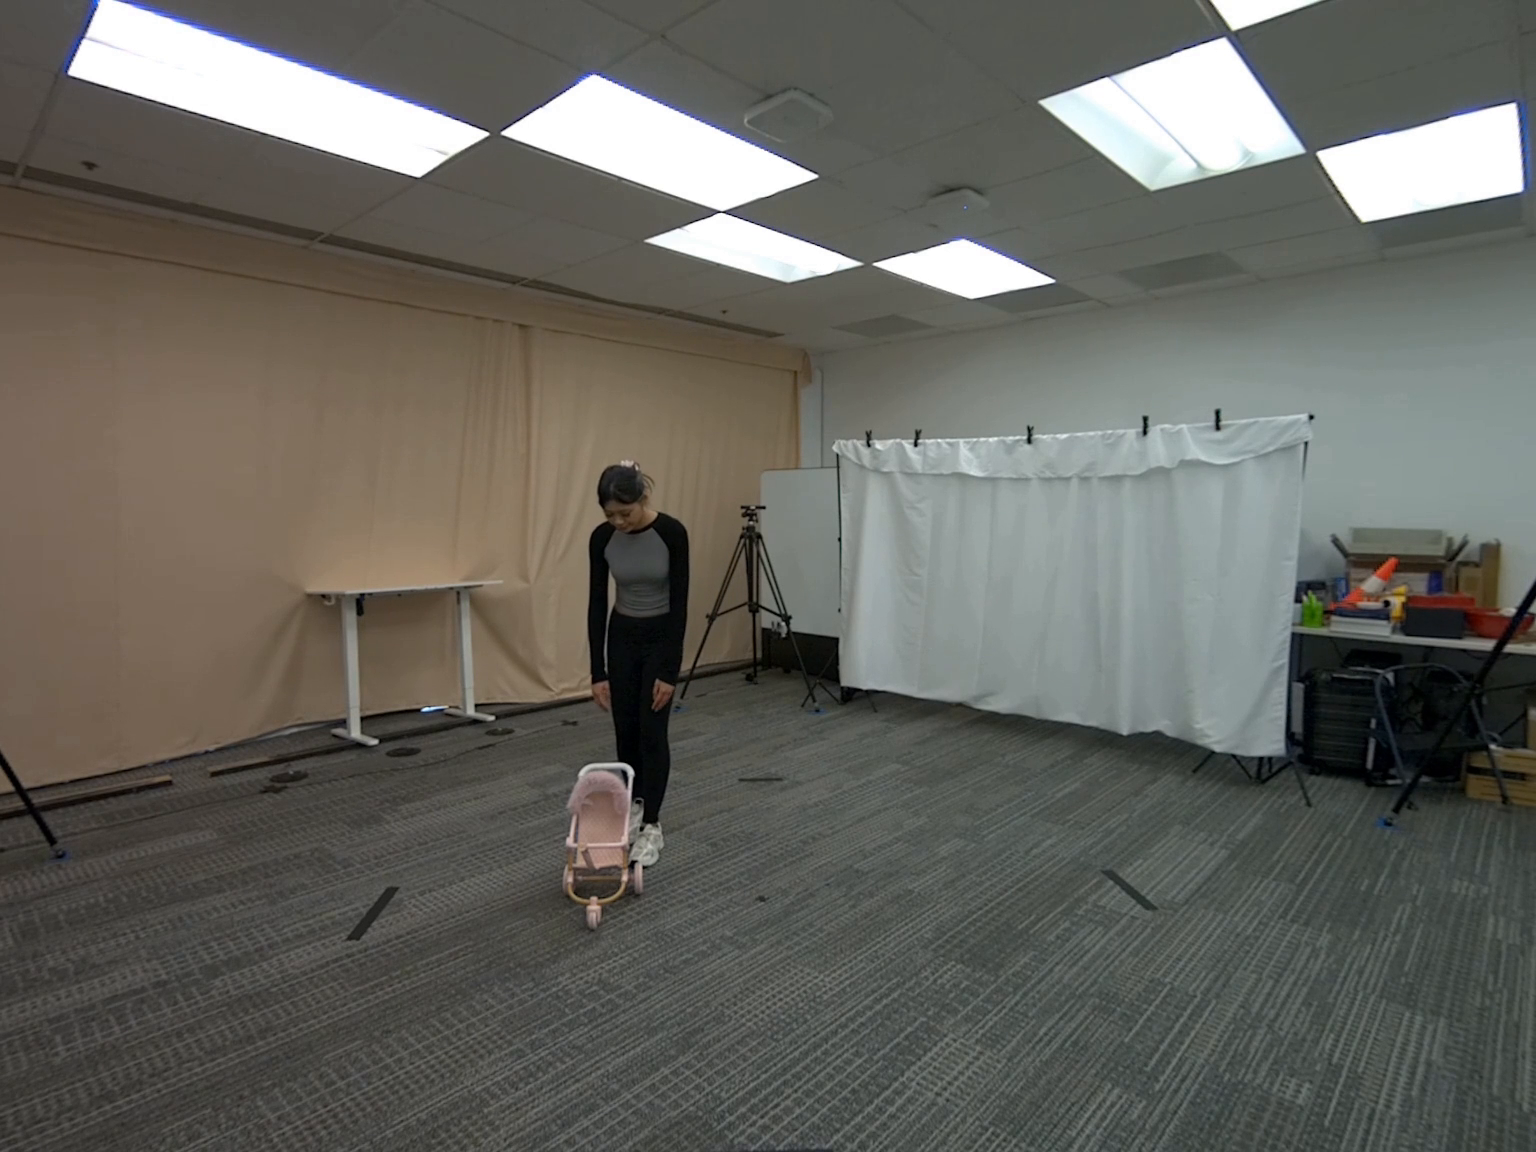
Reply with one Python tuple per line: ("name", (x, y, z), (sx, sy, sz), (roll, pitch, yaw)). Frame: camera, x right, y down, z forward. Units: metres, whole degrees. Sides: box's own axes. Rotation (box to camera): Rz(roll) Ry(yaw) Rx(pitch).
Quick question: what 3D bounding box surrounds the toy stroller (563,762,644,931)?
("toy stroller", (-0.593, 0.926, 2.960), (0.282, 0.539, 0.337), (-1, -13, 2))
